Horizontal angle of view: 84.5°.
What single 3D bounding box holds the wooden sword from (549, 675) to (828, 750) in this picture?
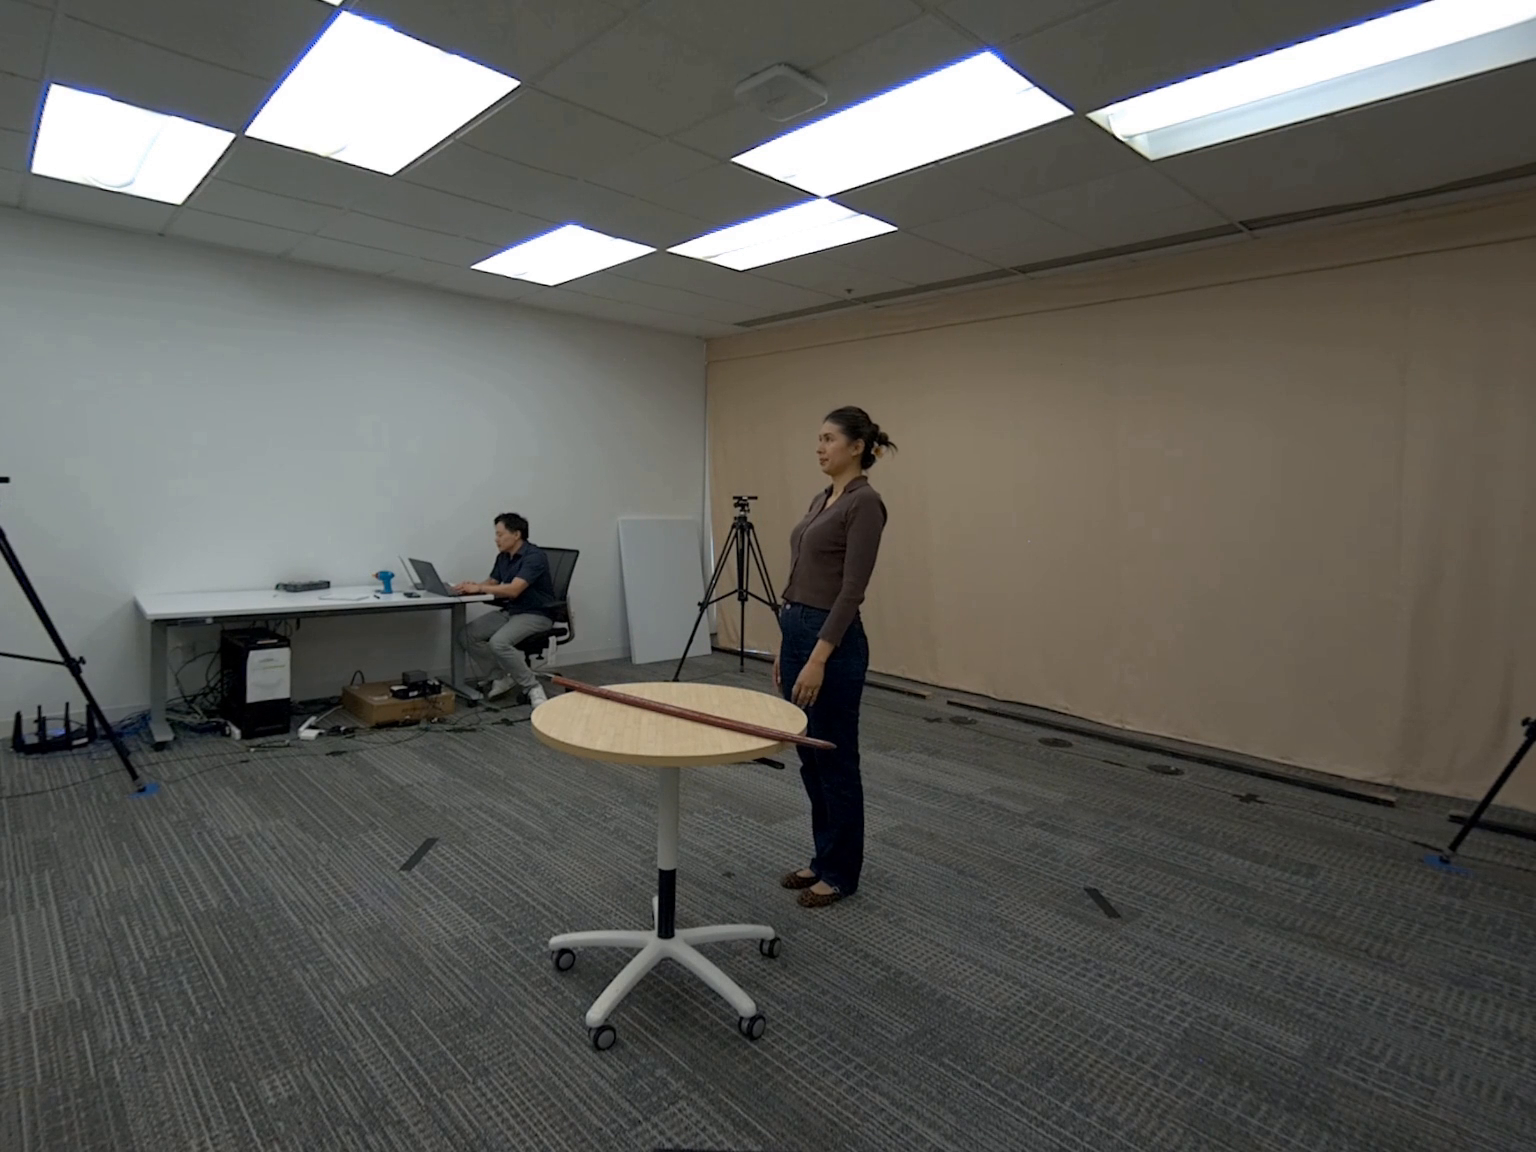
[{"bbox_3d":[-0.303,0.382,2.363,1.050,0.050,0.024,6,38,37],"label":"wooden sword"}]
